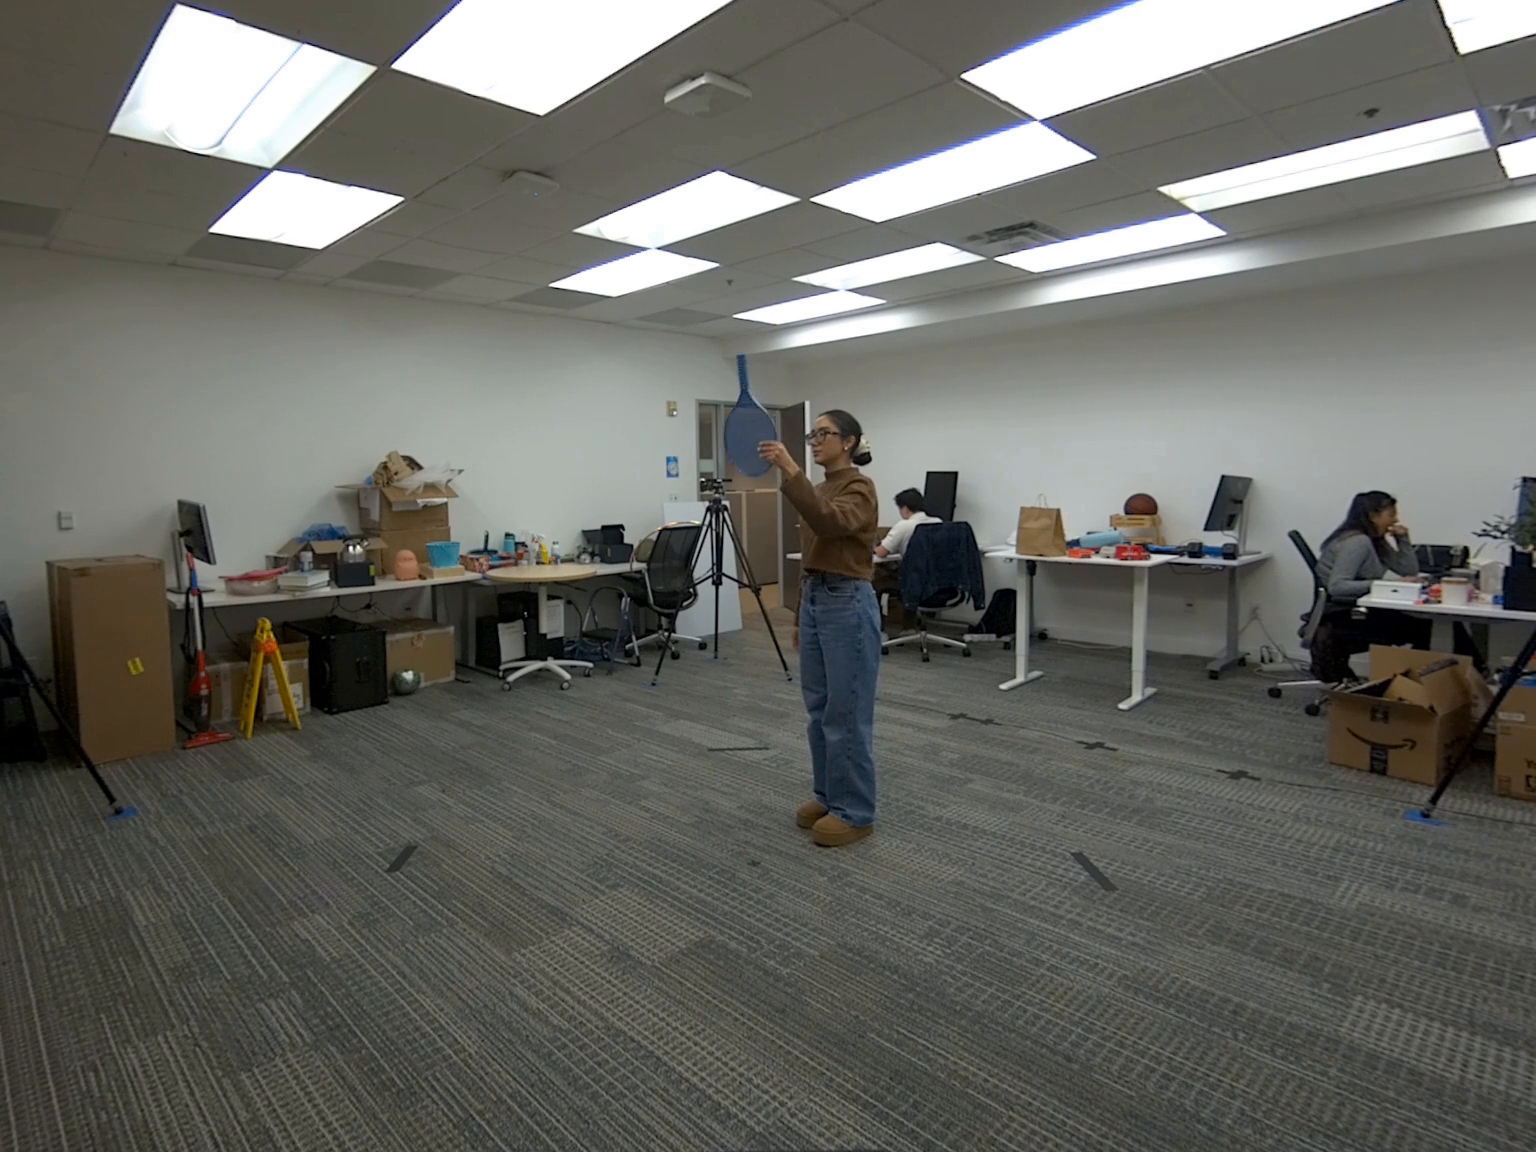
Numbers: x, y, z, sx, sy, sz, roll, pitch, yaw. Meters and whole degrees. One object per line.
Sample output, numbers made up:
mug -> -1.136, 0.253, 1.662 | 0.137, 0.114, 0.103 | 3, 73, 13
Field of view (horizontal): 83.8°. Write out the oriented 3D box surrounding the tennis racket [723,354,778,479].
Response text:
tennis racket -> -0.065, -0.539, 3.020 | 0.219, 0.427, 0.031 | 3, 14, 25
